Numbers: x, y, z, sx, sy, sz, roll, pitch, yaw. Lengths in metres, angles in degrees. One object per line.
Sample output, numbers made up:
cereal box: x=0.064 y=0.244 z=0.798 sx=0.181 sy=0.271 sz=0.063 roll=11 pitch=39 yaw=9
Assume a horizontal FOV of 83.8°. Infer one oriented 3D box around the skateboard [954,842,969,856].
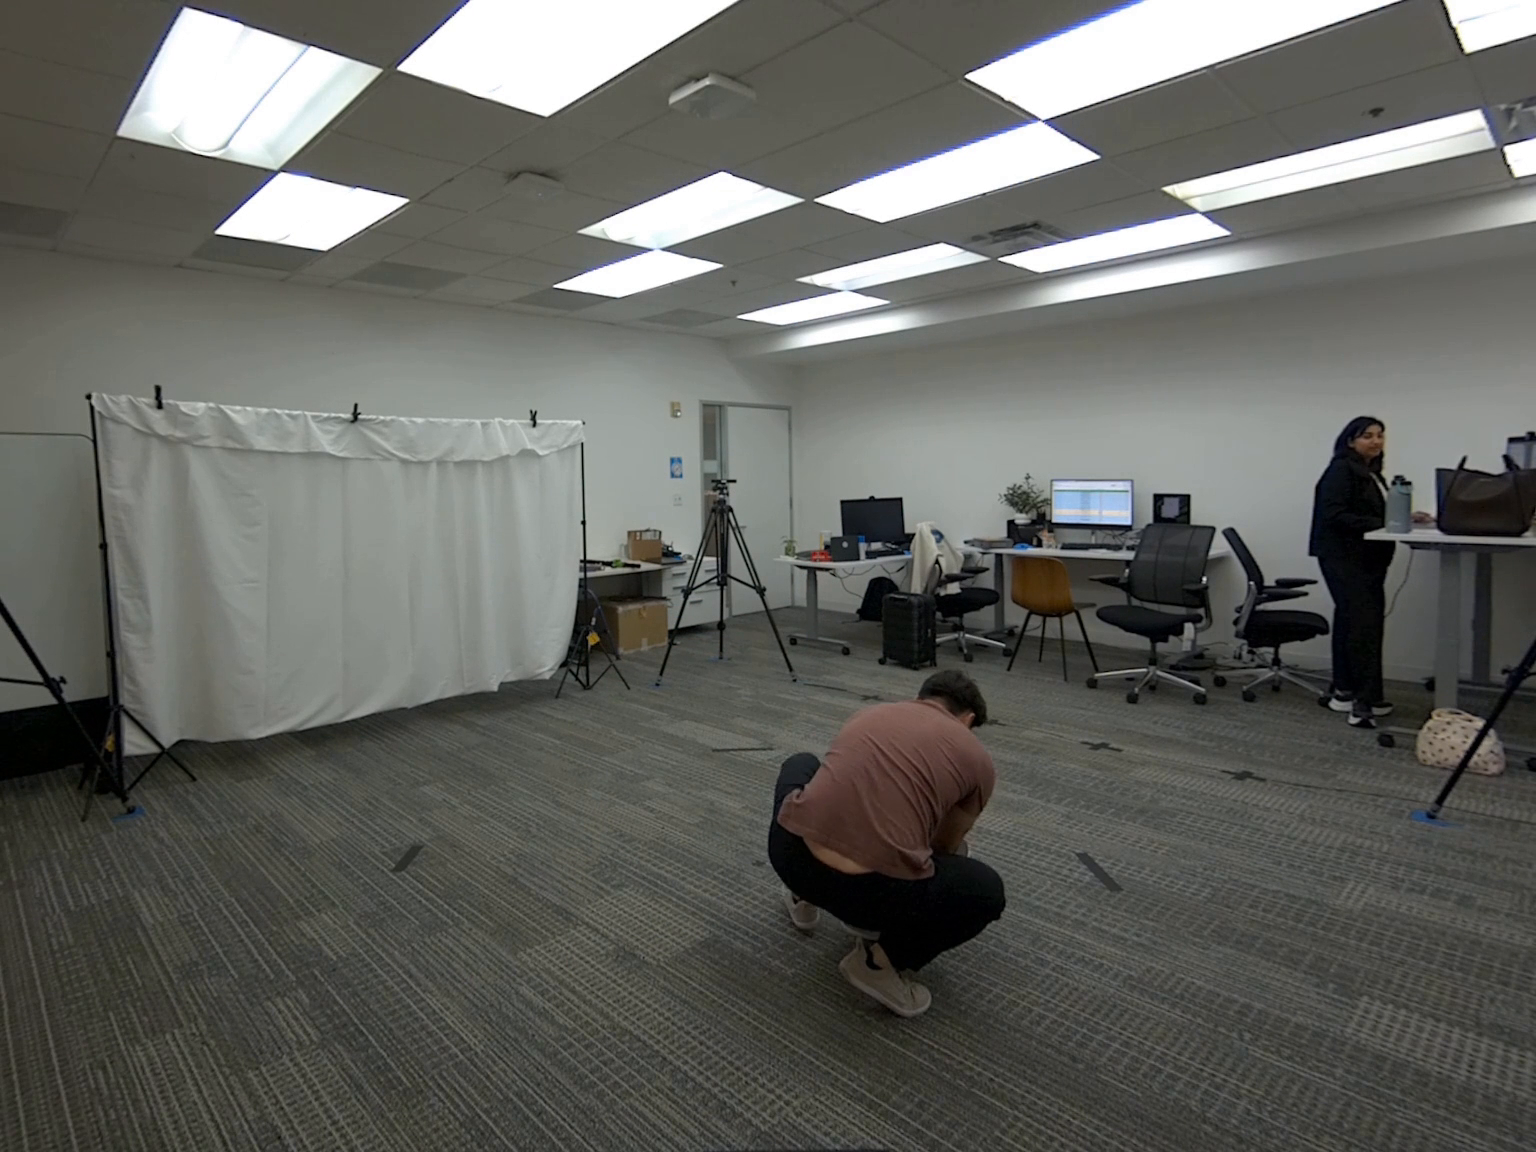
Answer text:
skateboard: x=0.467 y=1.018 z=2.760 sx=0.199 sy=0.110 sz=0.768 roll=2 pitch=8 yaw=31
